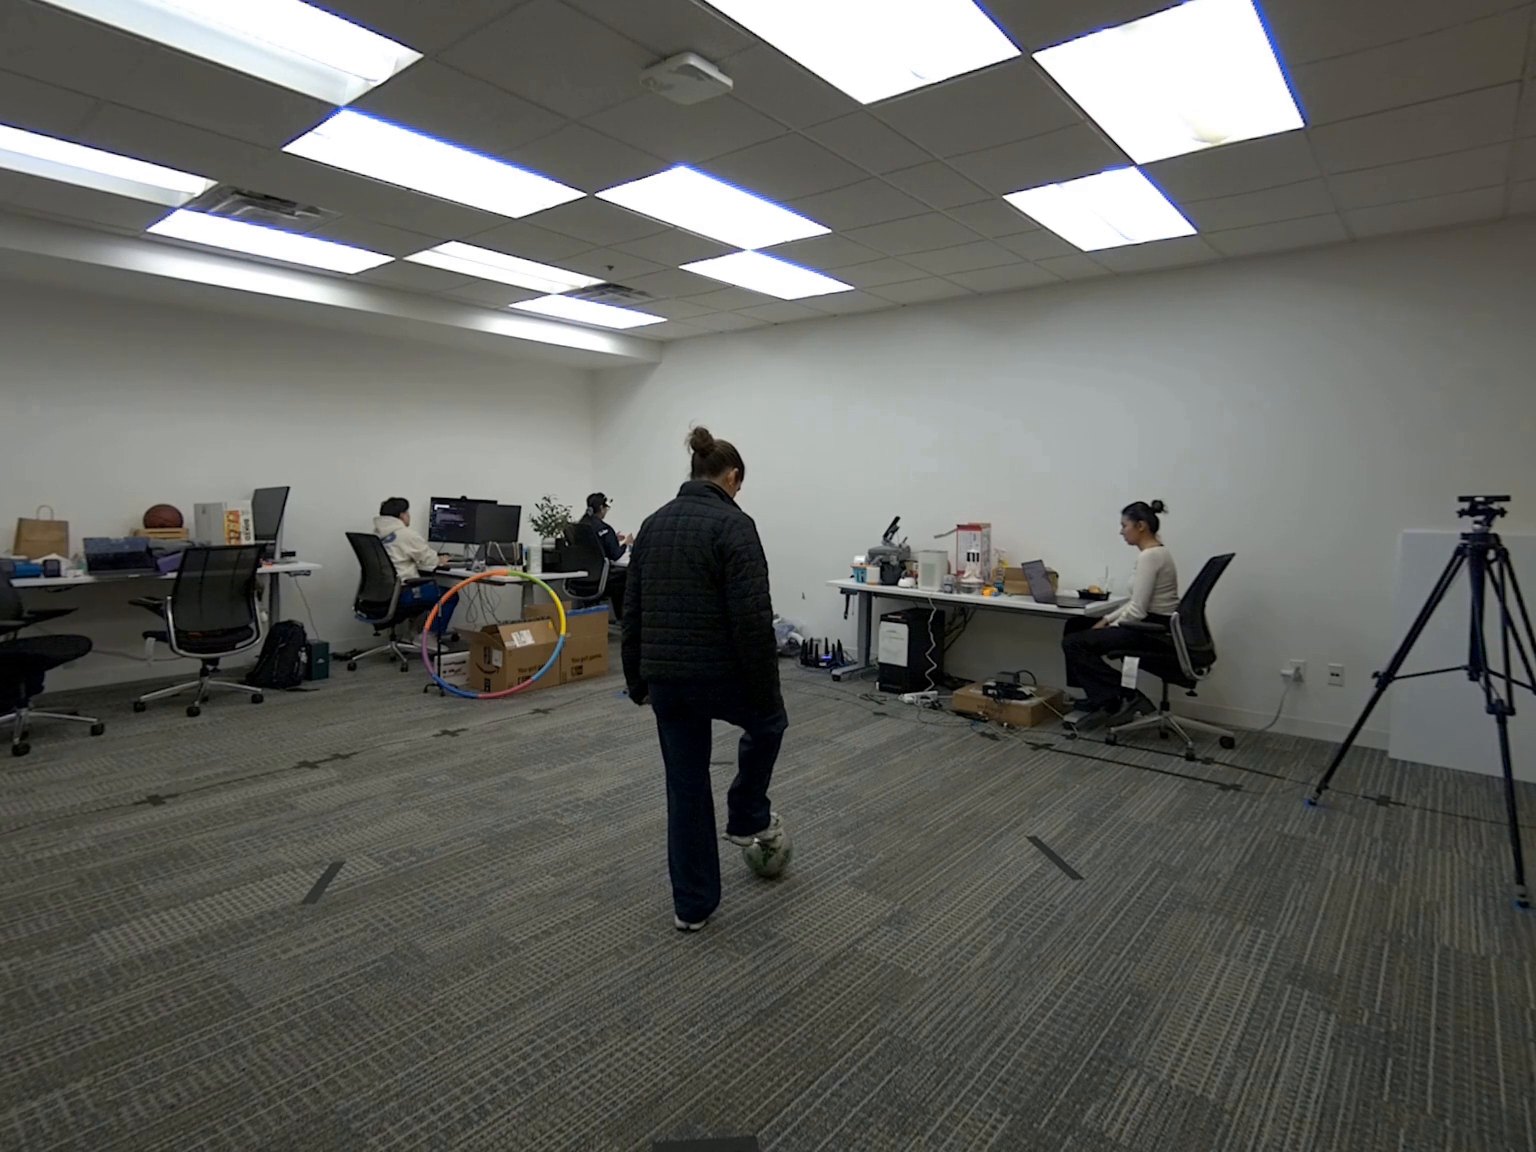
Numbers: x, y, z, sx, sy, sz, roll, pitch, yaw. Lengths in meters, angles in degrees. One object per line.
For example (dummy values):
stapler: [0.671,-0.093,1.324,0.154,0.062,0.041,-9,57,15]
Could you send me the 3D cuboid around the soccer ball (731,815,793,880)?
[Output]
soccer ball: [-0.008,0.979,3.068,0.187,0.187,0.188,1,4,-2]
